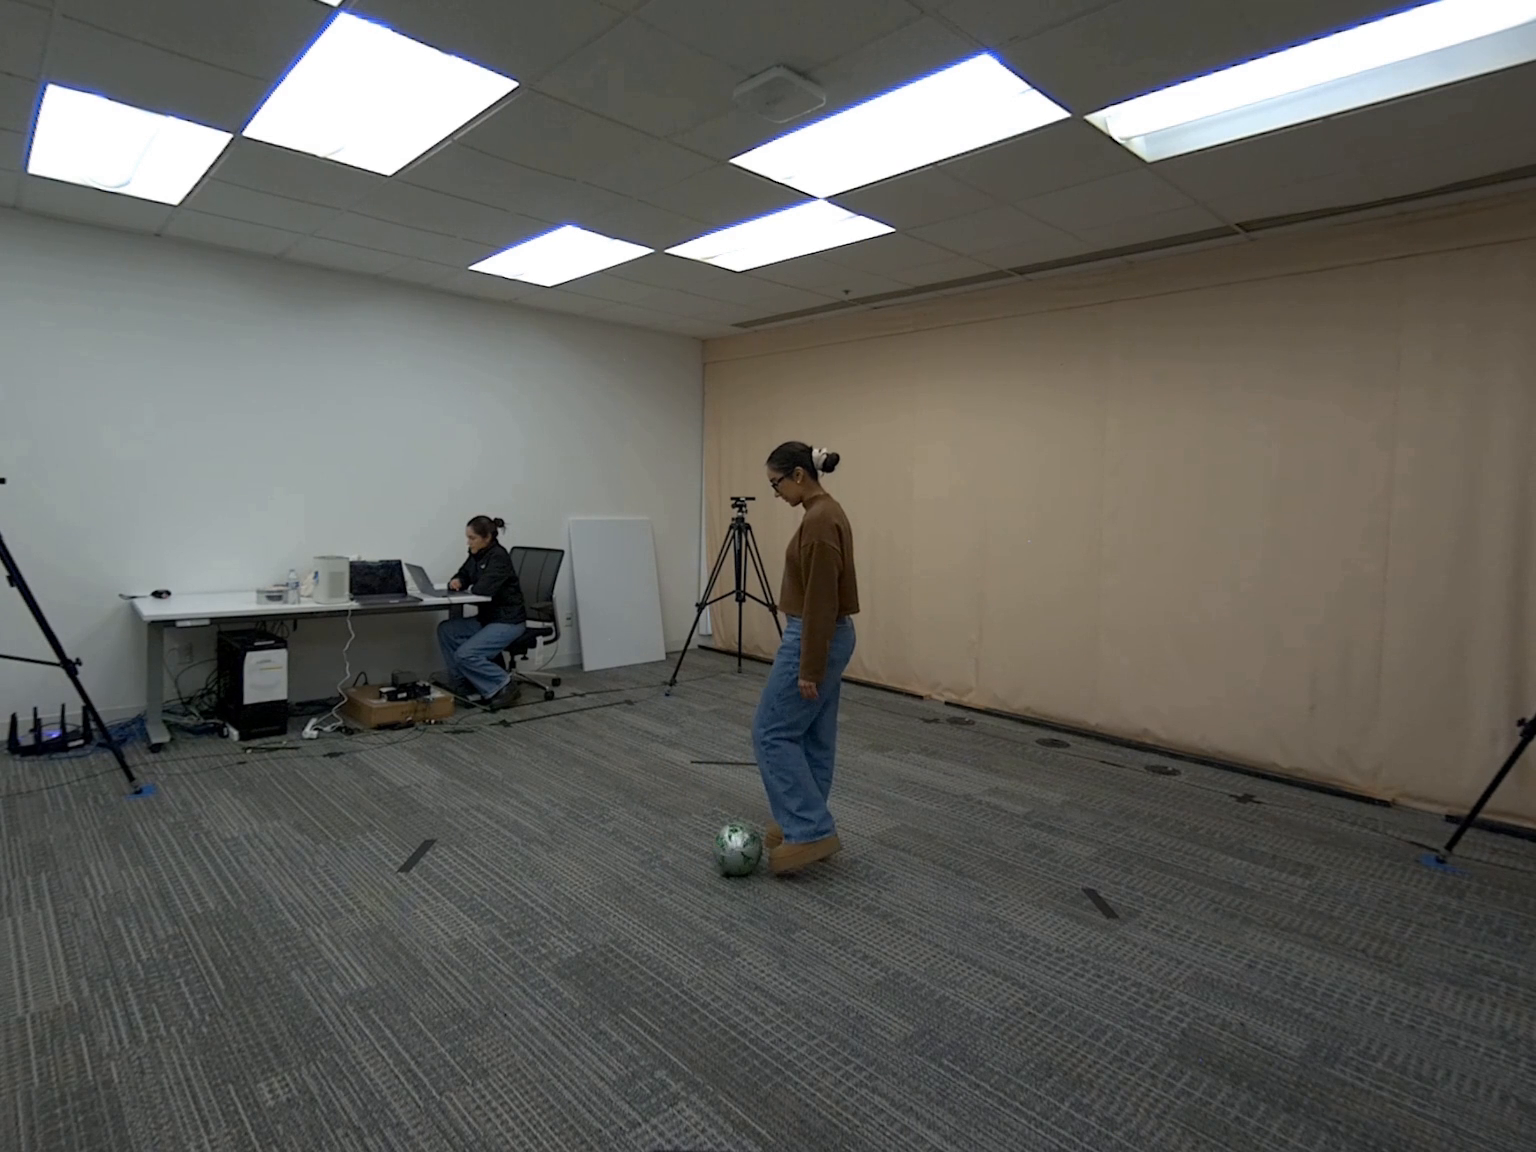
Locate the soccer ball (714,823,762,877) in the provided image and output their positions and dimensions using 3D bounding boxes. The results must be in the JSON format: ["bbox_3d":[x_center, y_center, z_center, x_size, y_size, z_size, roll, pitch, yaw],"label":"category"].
[{"bbox_3d":[-0.121,1.010,3.120,0.187,0.187,0.188,1,4,-1],"label":"soccer ball"}]
